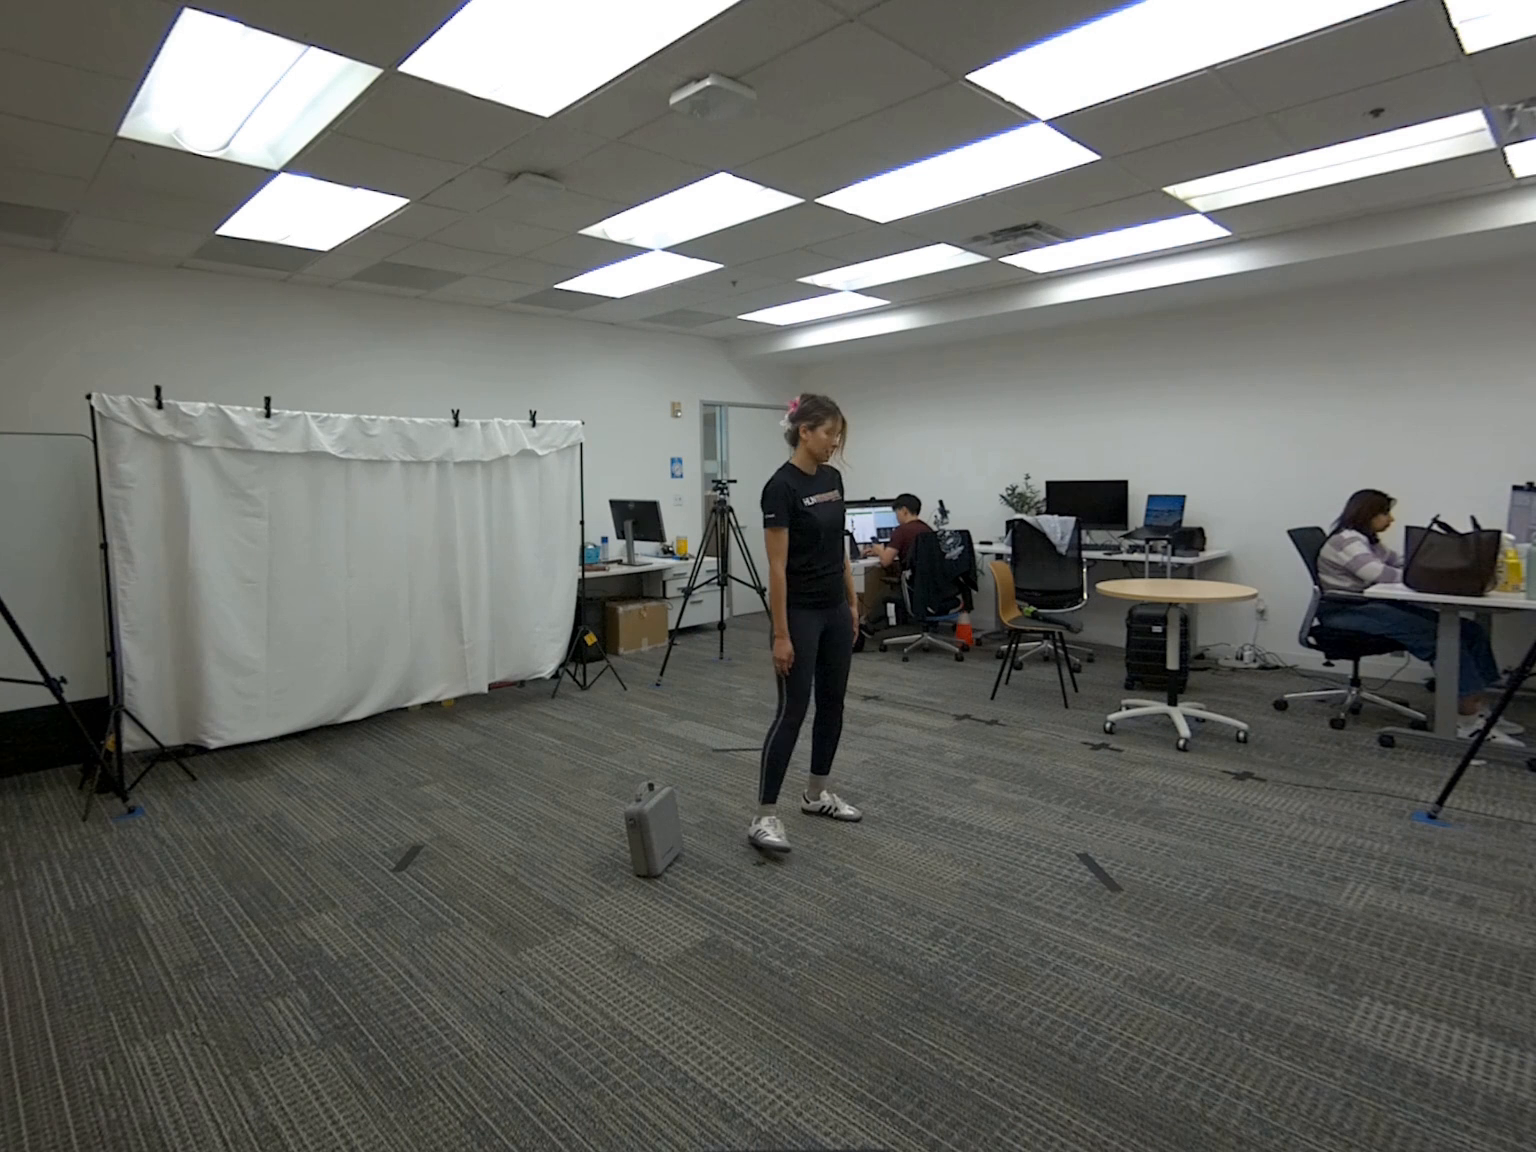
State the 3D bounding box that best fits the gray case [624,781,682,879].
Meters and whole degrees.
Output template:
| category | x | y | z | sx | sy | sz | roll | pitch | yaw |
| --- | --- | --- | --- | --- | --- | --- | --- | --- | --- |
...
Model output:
| category | x | y | z | sx | sy | sz | roll | pitch | yaw |
| --- | --- | --- | --- | --- | --- | --- | --- | --- | --- |
| gray case | -0.412 | 0.920 | 3.111 | 0.106 | 0.260 | 0.253 | -7 | 2 | 18 |
